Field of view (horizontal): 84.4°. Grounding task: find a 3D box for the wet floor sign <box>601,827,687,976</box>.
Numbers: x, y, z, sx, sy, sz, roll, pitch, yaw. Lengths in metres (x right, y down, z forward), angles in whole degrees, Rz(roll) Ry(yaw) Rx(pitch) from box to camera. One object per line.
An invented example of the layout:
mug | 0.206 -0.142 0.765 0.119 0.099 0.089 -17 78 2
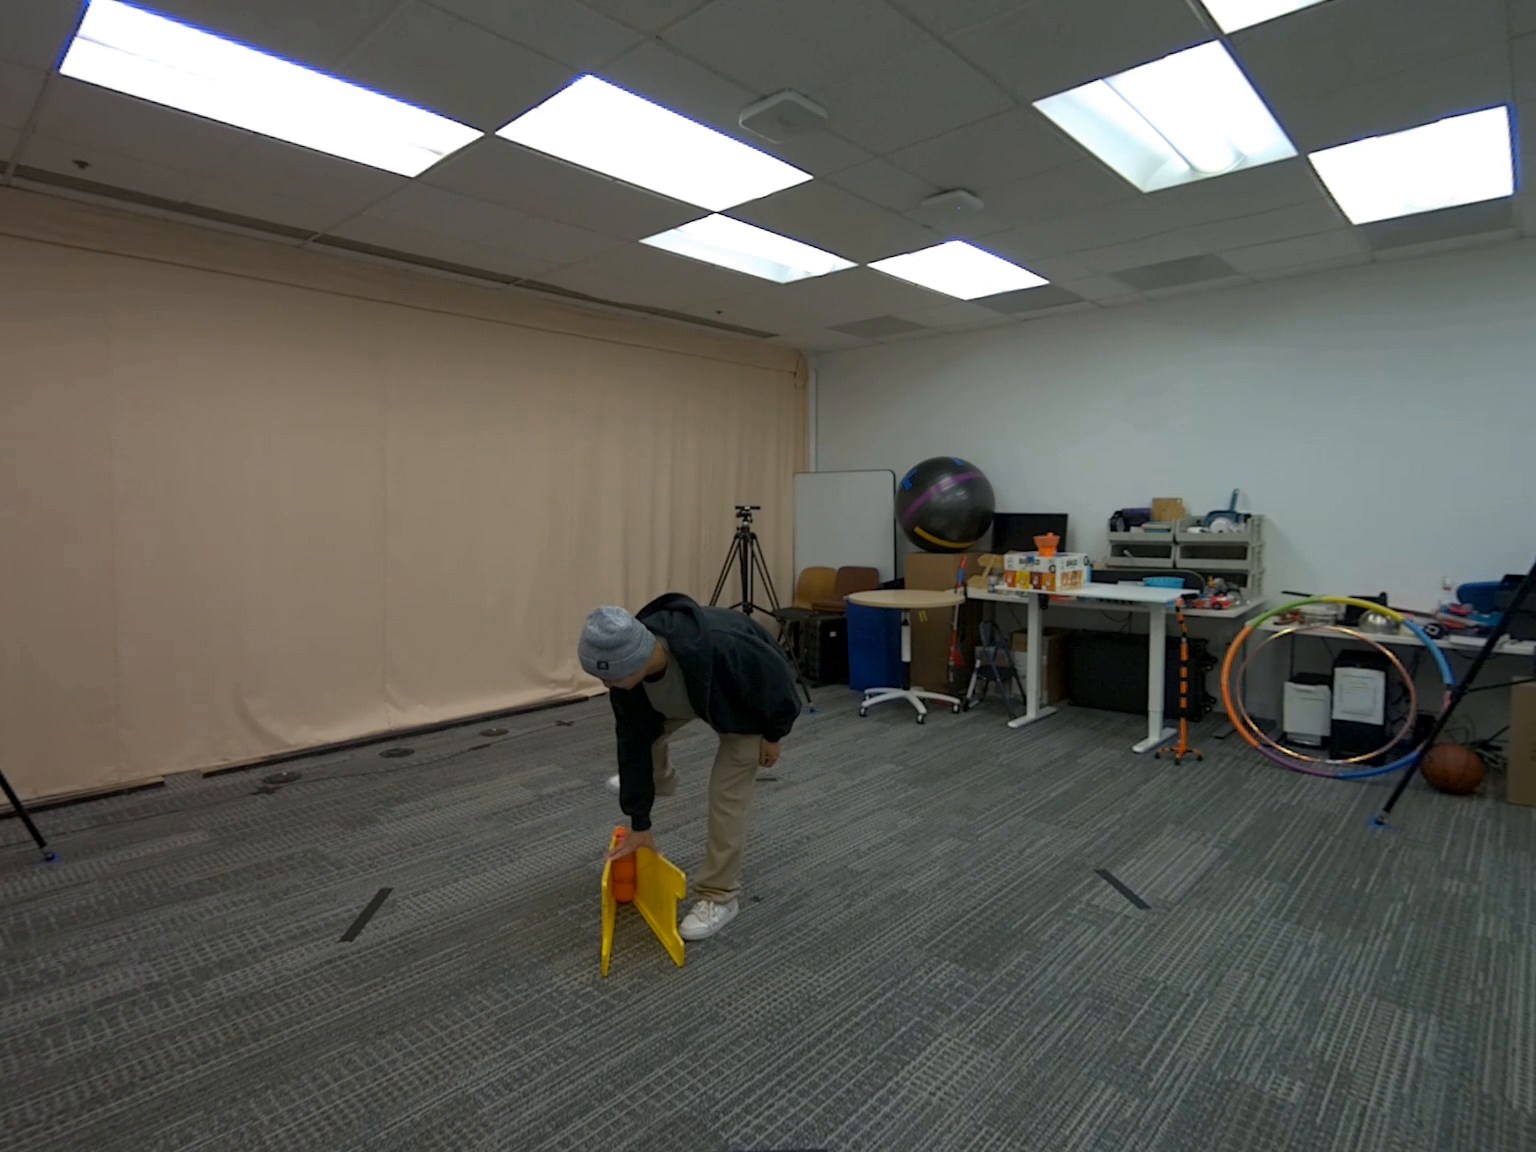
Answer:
wet floor sign | -0.469 1.033 2.821 0.285 0.282 0.656 0 1 -16
